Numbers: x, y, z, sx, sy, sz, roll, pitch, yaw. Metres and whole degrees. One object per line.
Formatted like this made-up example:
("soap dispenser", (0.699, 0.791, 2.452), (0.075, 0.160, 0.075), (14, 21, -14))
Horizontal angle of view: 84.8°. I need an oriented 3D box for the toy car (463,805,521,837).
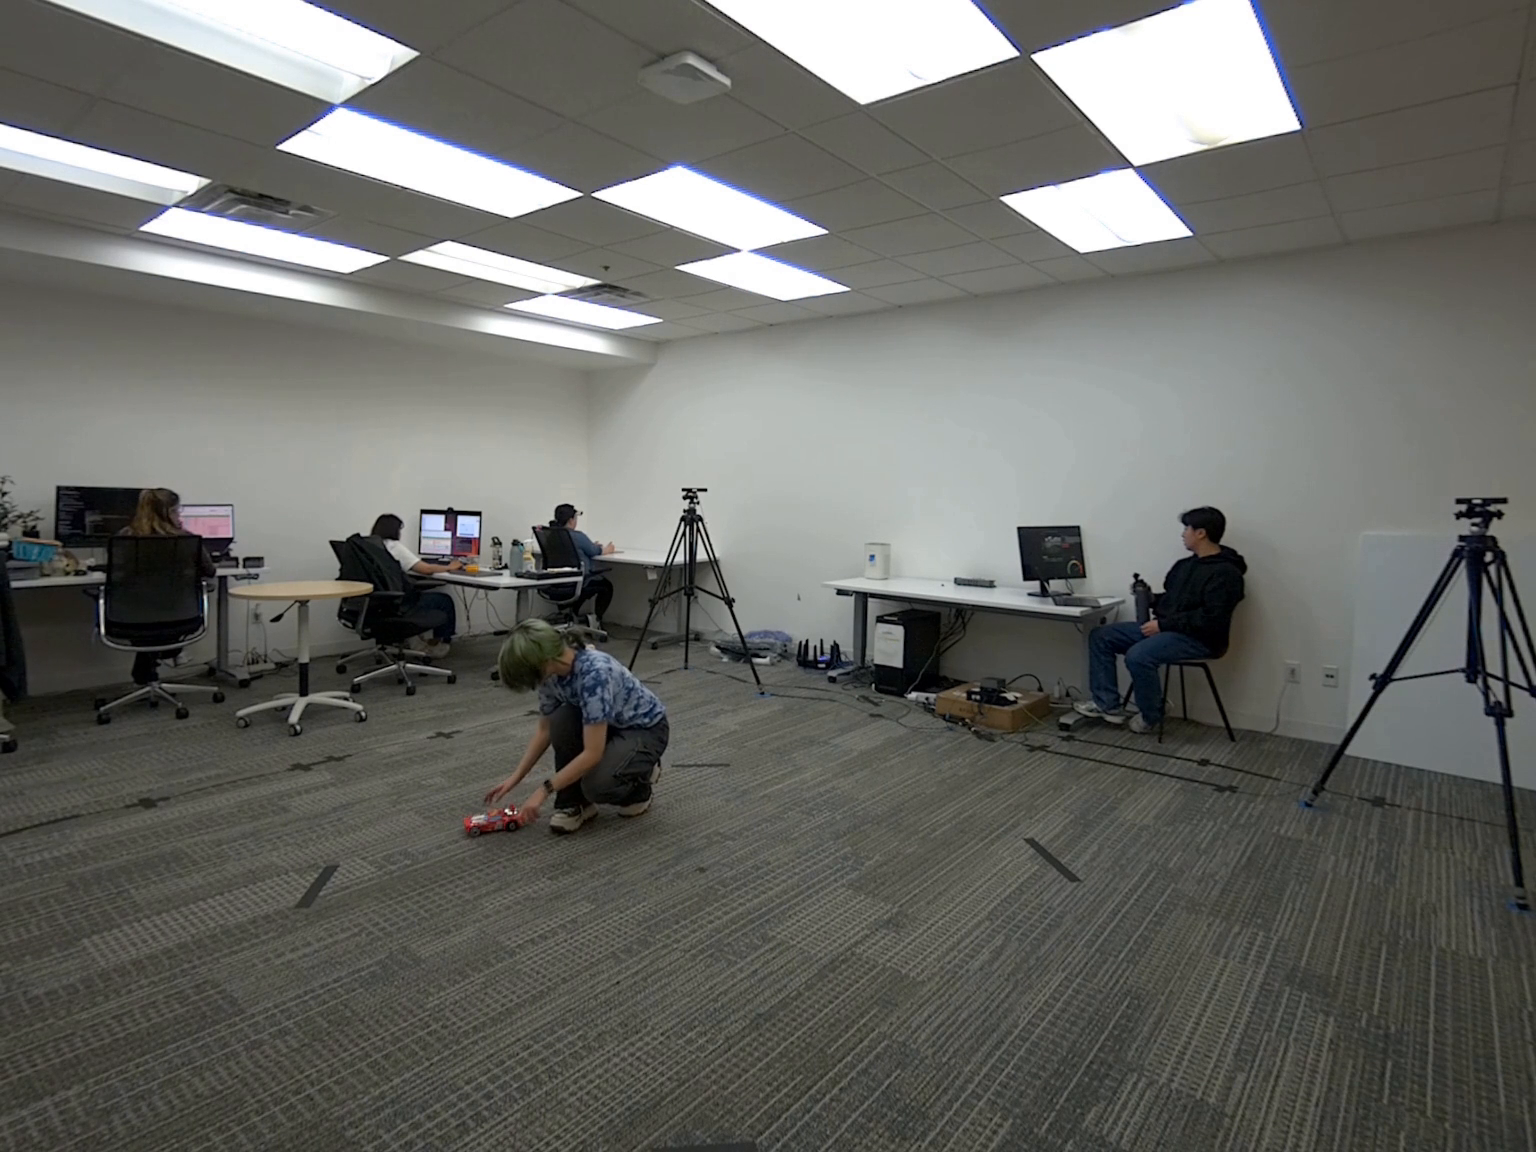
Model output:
("toy car", (-1.113, 0.989, 3.456), (0.250, 0.082, 0.133), (-13, 10, -20))
